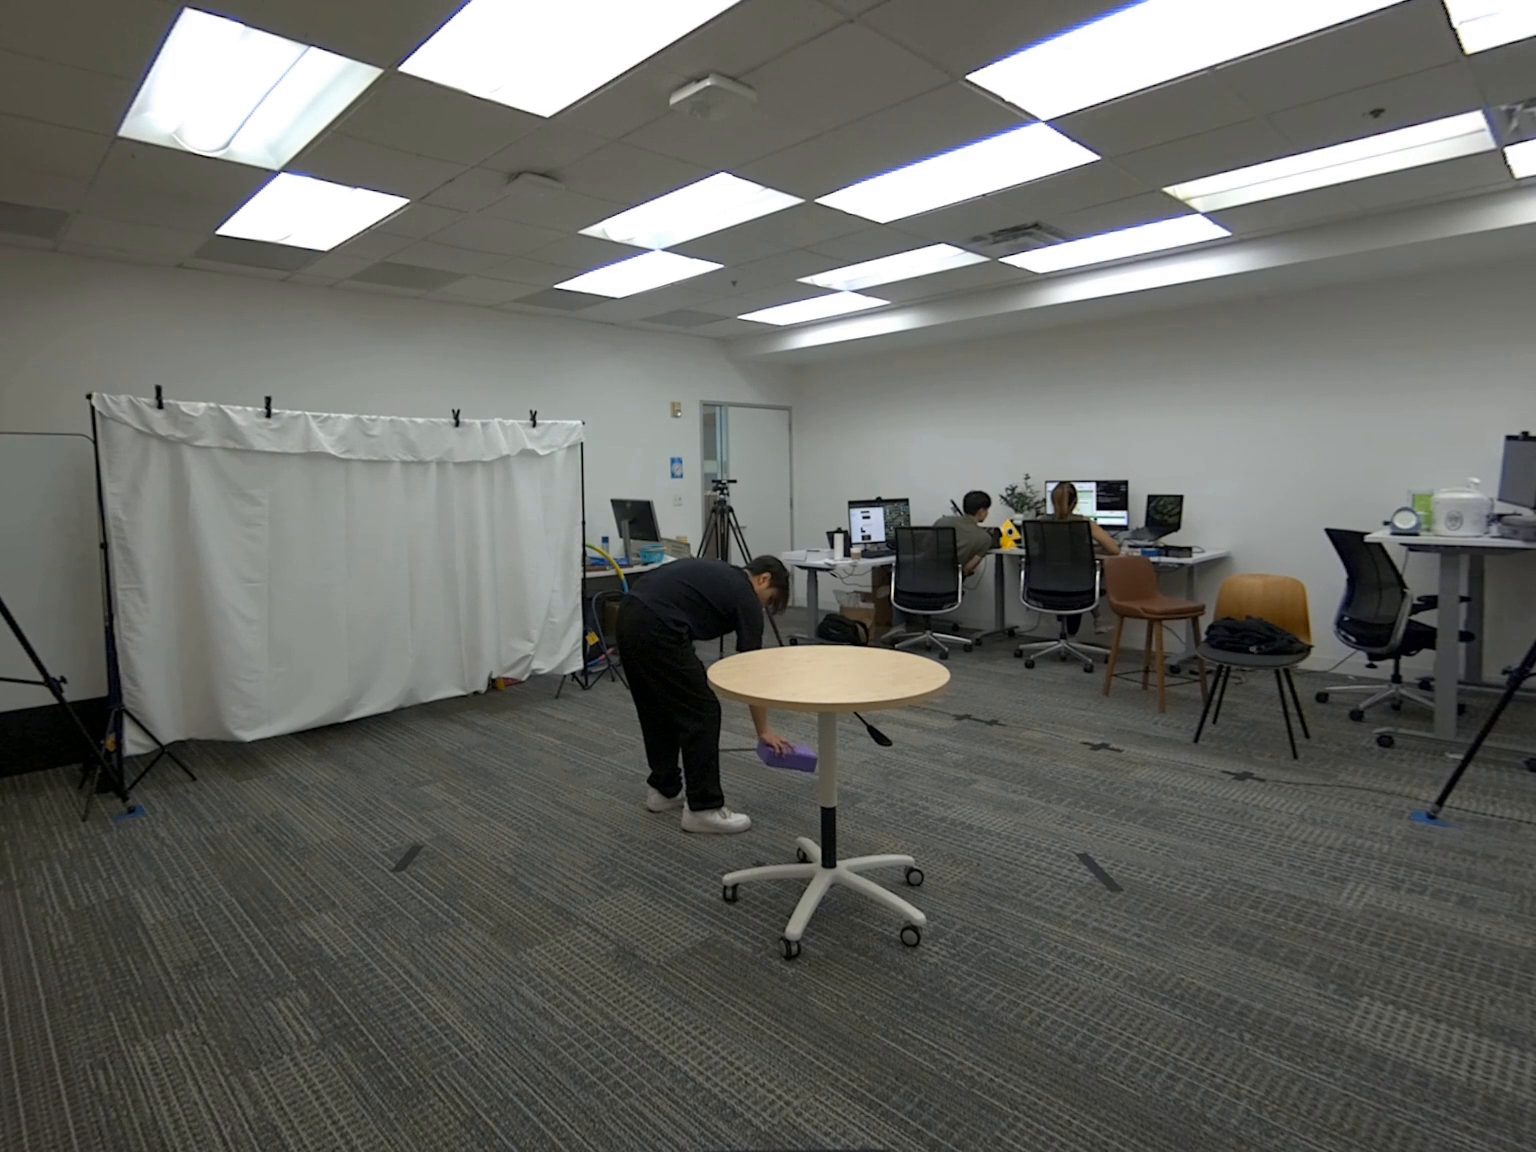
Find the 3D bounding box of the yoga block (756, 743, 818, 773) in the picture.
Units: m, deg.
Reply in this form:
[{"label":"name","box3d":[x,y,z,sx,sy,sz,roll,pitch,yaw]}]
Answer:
[{"label":"yoga block","box3d":[0.083,0.767,3.659,0.226,0.076,0.151,10,4,-12]}]
